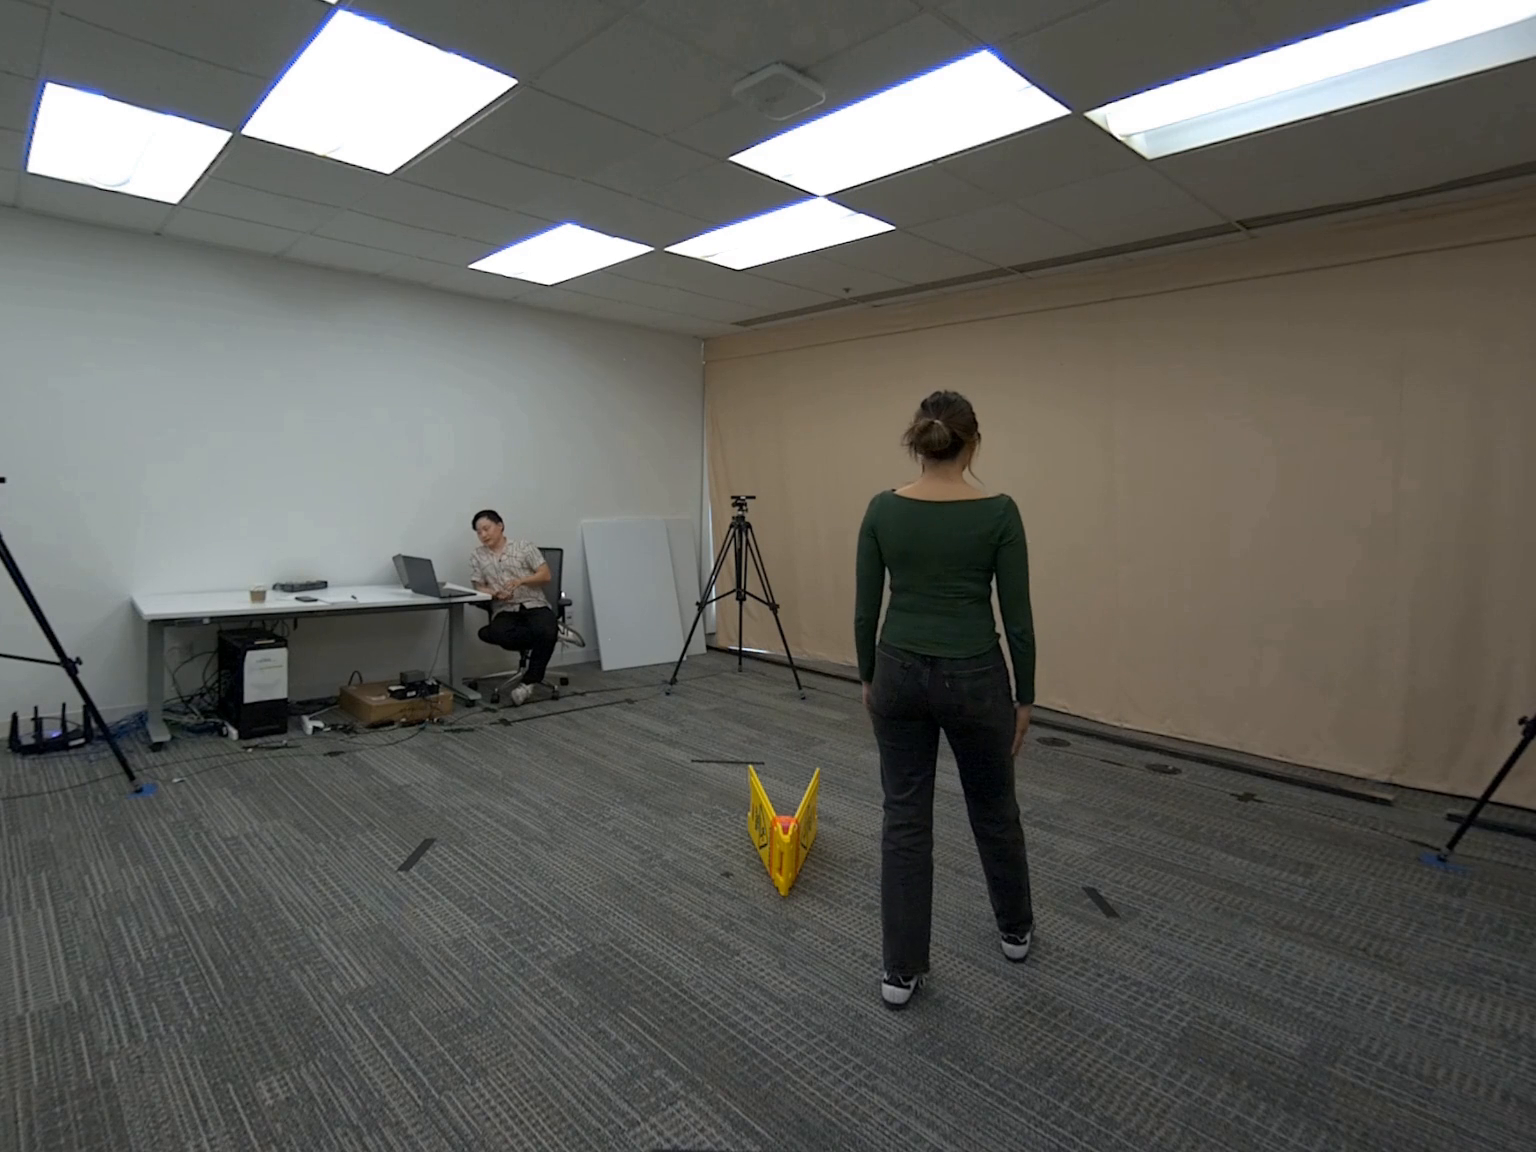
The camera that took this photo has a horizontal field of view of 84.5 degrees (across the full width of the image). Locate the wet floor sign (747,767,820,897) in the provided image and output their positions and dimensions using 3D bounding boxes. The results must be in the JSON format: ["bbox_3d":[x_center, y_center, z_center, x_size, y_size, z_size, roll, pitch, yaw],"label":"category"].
[{"bbox_3d":[0.056,0.965,3.194,0.290,0.281,0.648,1,7,0],"label":"wet floor sign"}]
